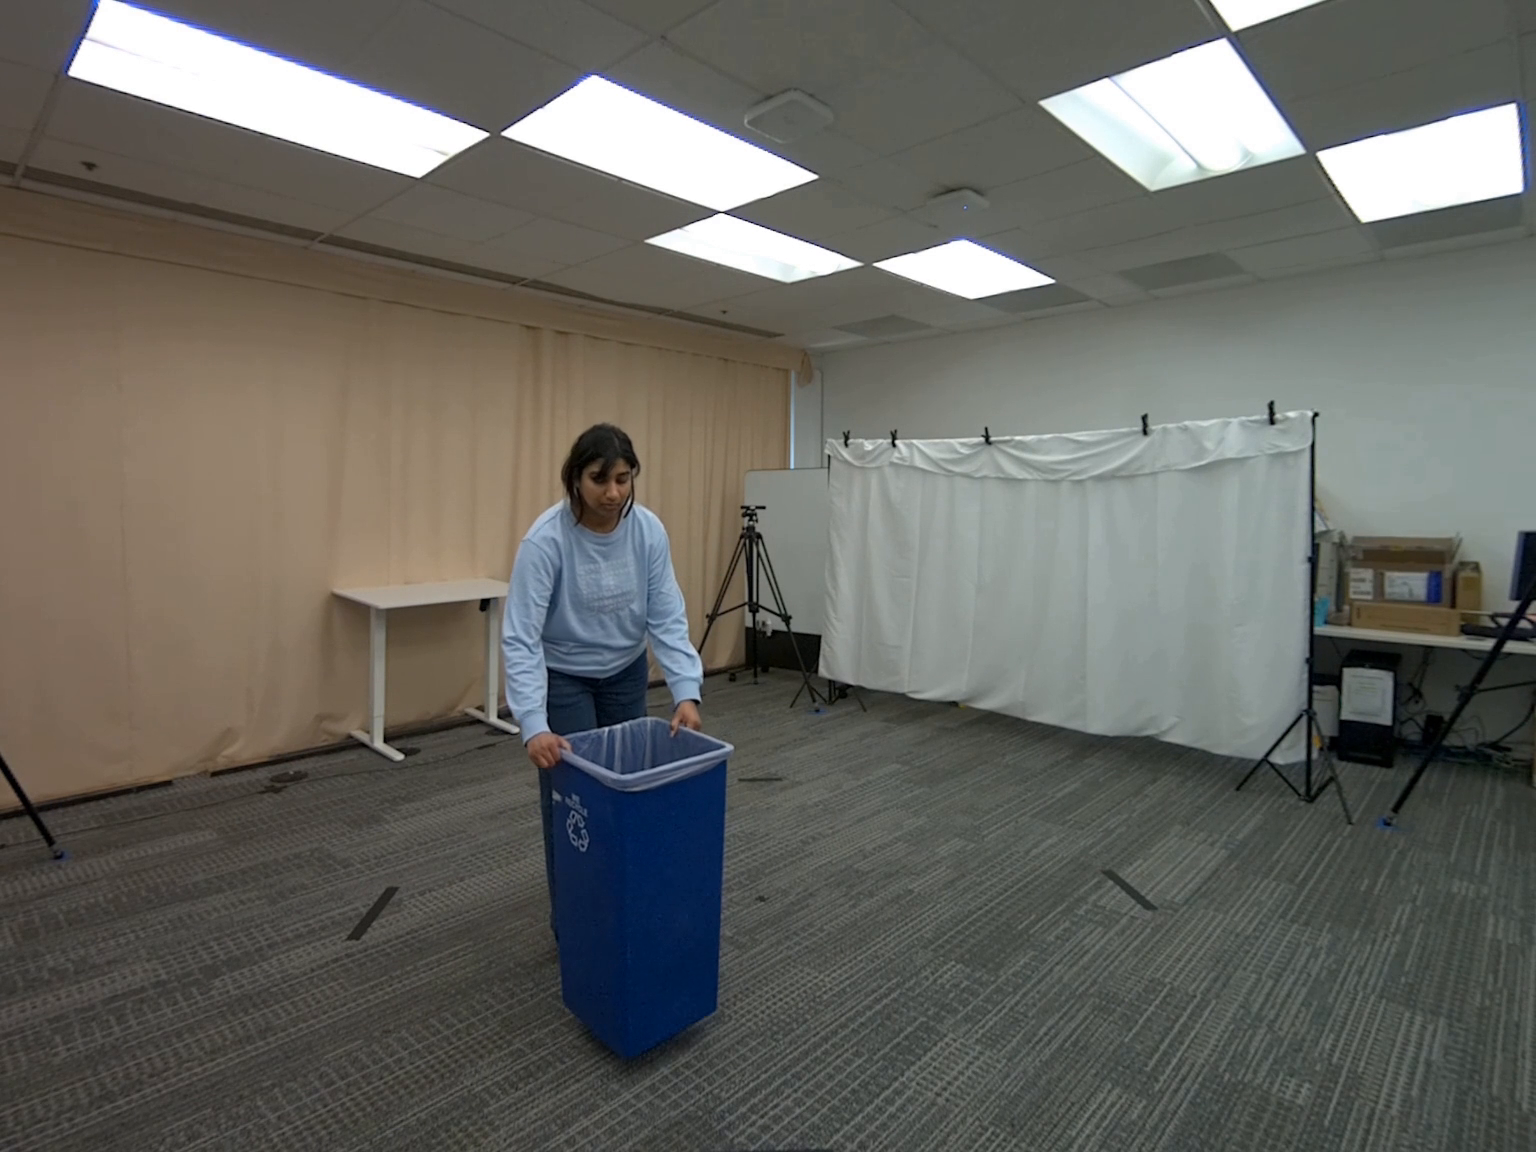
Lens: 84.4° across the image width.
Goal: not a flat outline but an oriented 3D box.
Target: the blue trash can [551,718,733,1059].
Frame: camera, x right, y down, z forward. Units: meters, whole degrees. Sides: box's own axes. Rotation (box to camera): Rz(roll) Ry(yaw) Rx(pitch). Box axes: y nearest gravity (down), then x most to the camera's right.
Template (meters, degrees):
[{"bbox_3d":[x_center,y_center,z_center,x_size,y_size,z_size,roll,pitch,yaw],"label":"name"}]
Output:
[{"bbox_3d":[-0.328,0.790,2.190,0.367,0.711,0.387,-5,7,-42],"label":"blue trash can"}]
